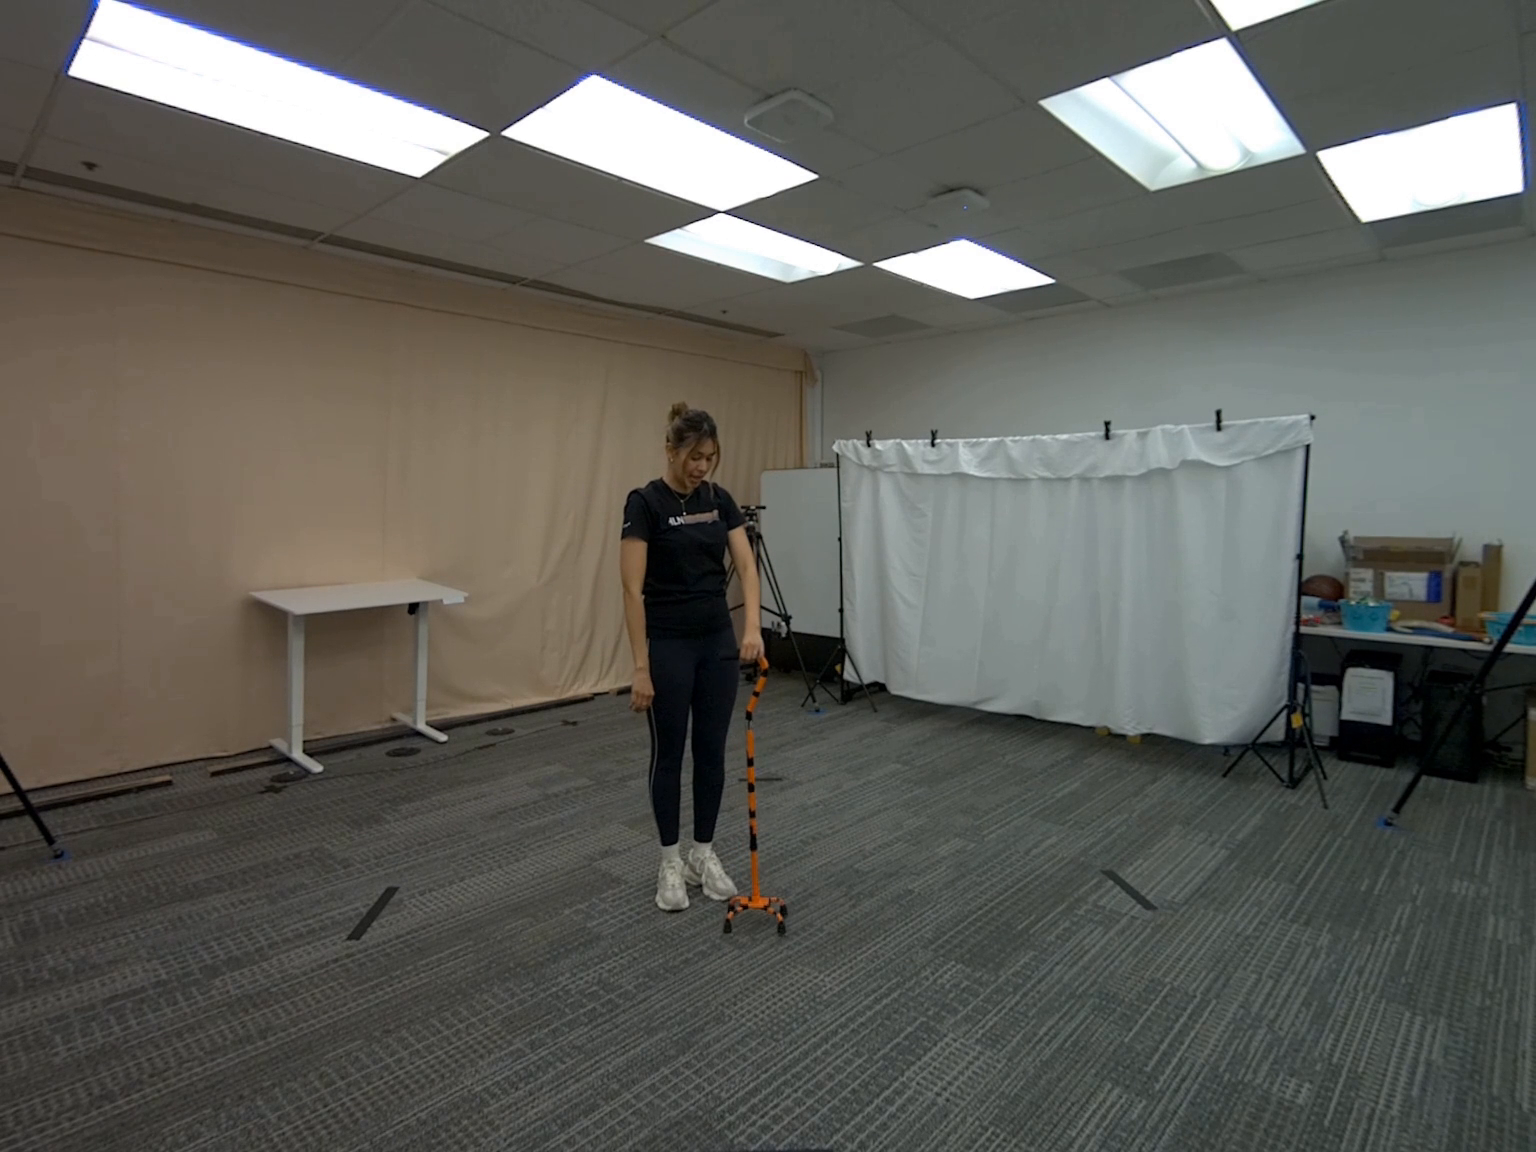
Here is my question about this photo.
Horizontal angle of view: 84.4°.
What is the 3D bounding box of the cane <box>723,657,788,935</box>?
[{"bbox_3d":[-0.050,0.698,2.769,0.207,0.906,0.151,-1,2,3],"label":"cane"}]
